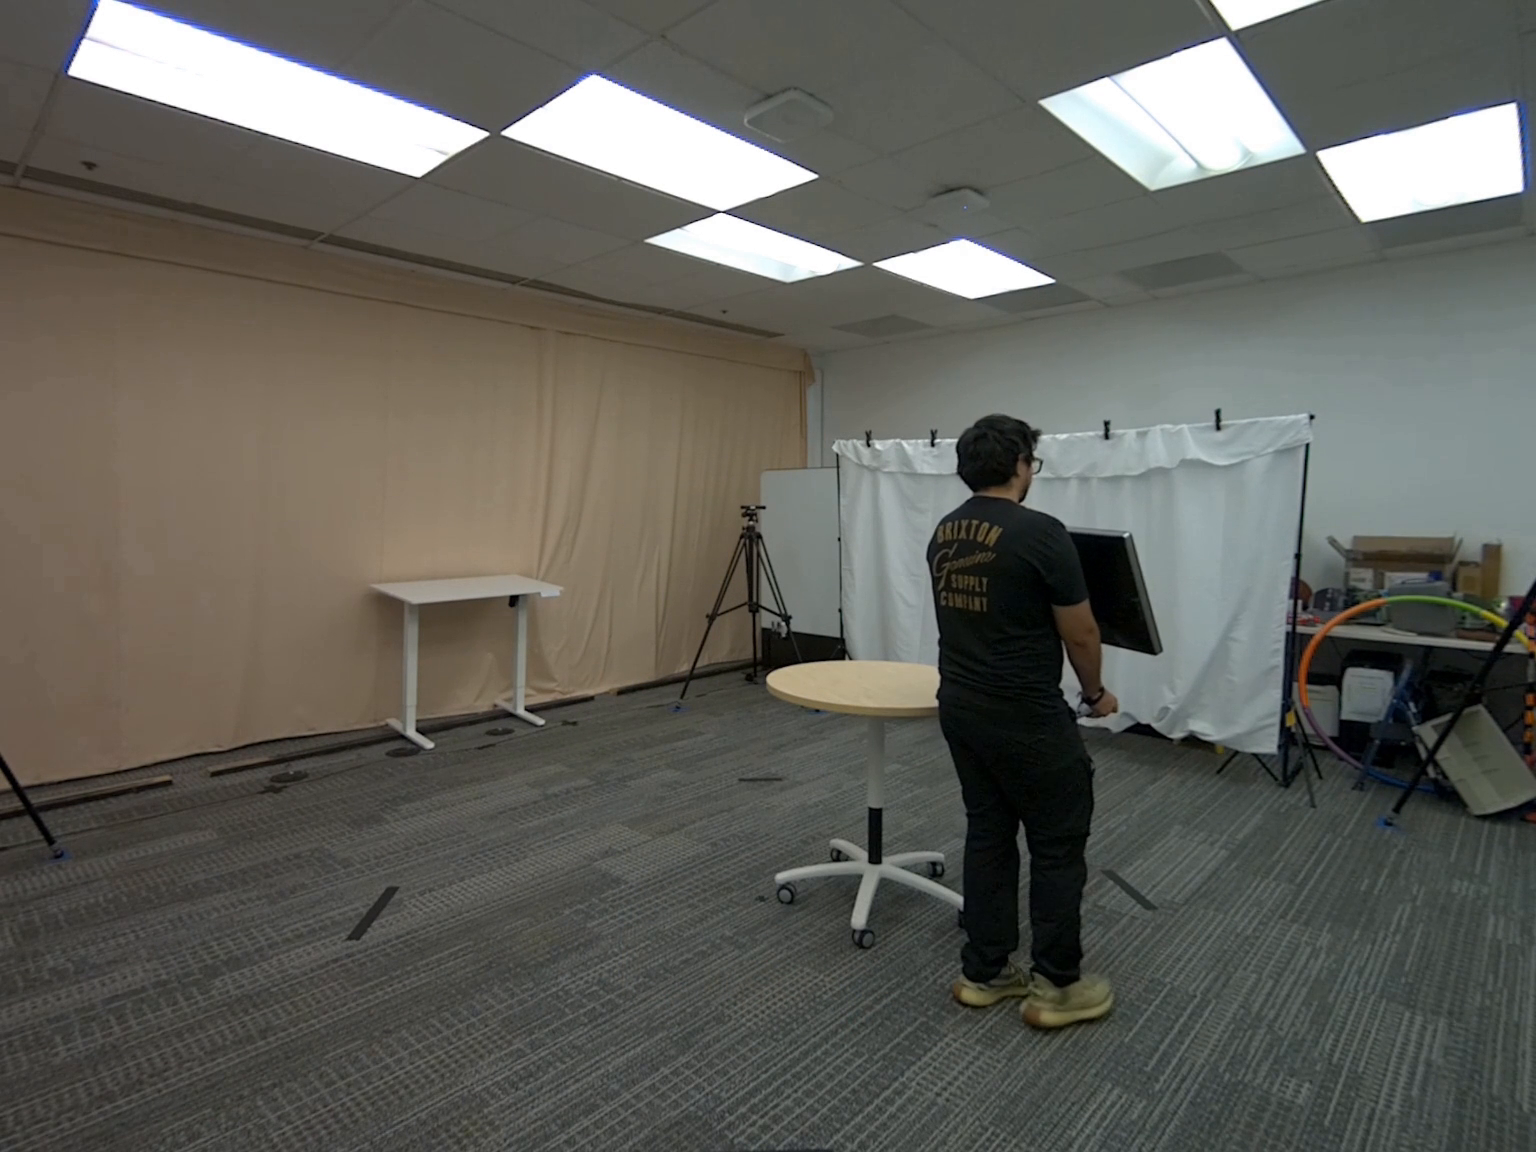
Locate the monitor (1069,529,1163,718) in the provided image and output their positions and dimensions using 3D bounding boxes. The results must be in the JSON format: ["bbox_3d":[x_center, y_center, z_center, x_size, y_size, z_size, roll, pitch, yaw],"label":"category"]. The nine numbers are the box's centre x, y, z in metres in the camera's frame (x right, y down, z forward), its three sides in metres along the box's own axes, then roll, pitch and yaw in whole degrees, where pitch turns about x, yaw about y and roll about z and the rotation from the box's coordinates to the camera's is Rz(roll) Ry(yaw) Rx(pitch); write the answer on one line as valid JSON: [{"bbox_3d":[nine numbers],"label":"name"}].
[{"bbox_3d":[0.828,0.124,2.458,0.207,0.547,0.581,-21,15,-22],"label":"monitor"}]
